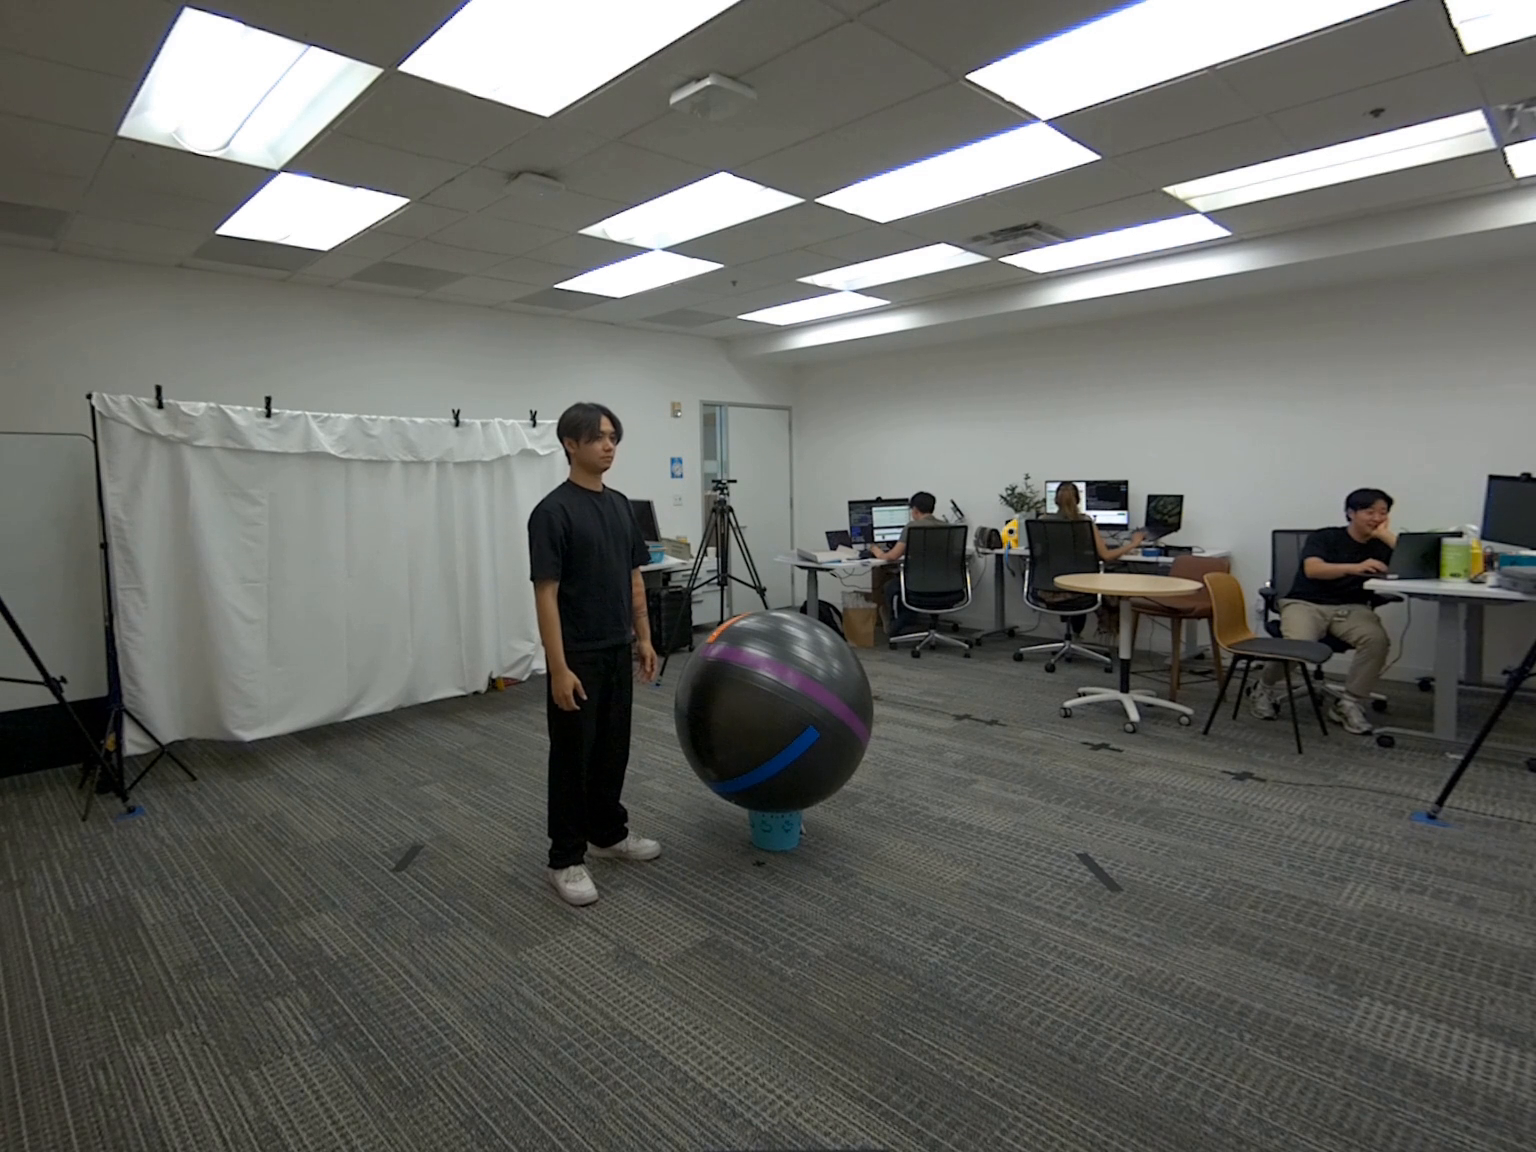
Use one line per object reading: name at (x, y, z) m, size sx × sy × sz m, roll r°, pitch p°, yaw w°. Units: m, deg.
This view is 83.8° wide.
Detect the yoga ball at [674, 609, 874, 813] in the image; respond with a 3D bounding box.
yoga ball at (0.020, 0.510, 3.287) m, size 0.757 × 0.755 × 0.762 m, roll -1°, pitch 5°, yaw -2°
